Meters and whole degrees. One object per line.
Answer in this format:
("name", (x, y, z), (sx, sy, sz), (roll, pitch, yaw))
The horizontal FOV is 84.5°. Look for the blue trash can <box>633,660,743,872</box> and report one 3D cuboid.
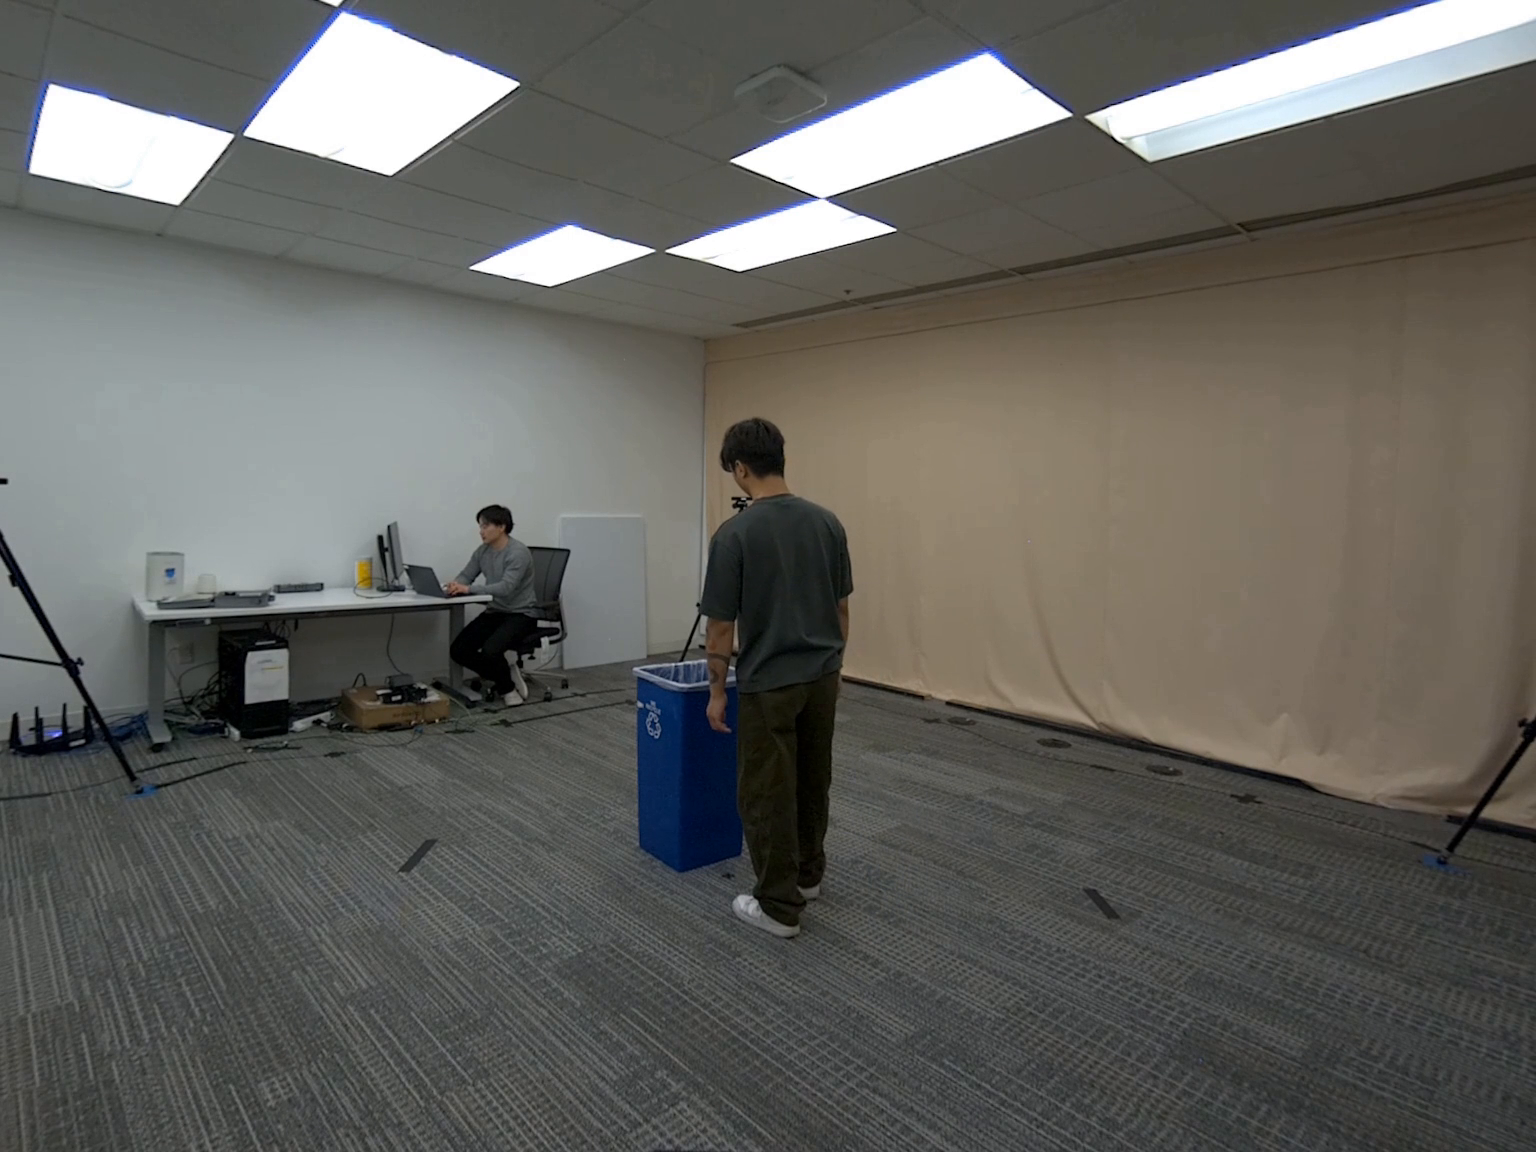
("blue trash can", (-0.310, 0.730, 3.300), (0.365, 0.712, 0.388), (-1, 5, -40))
